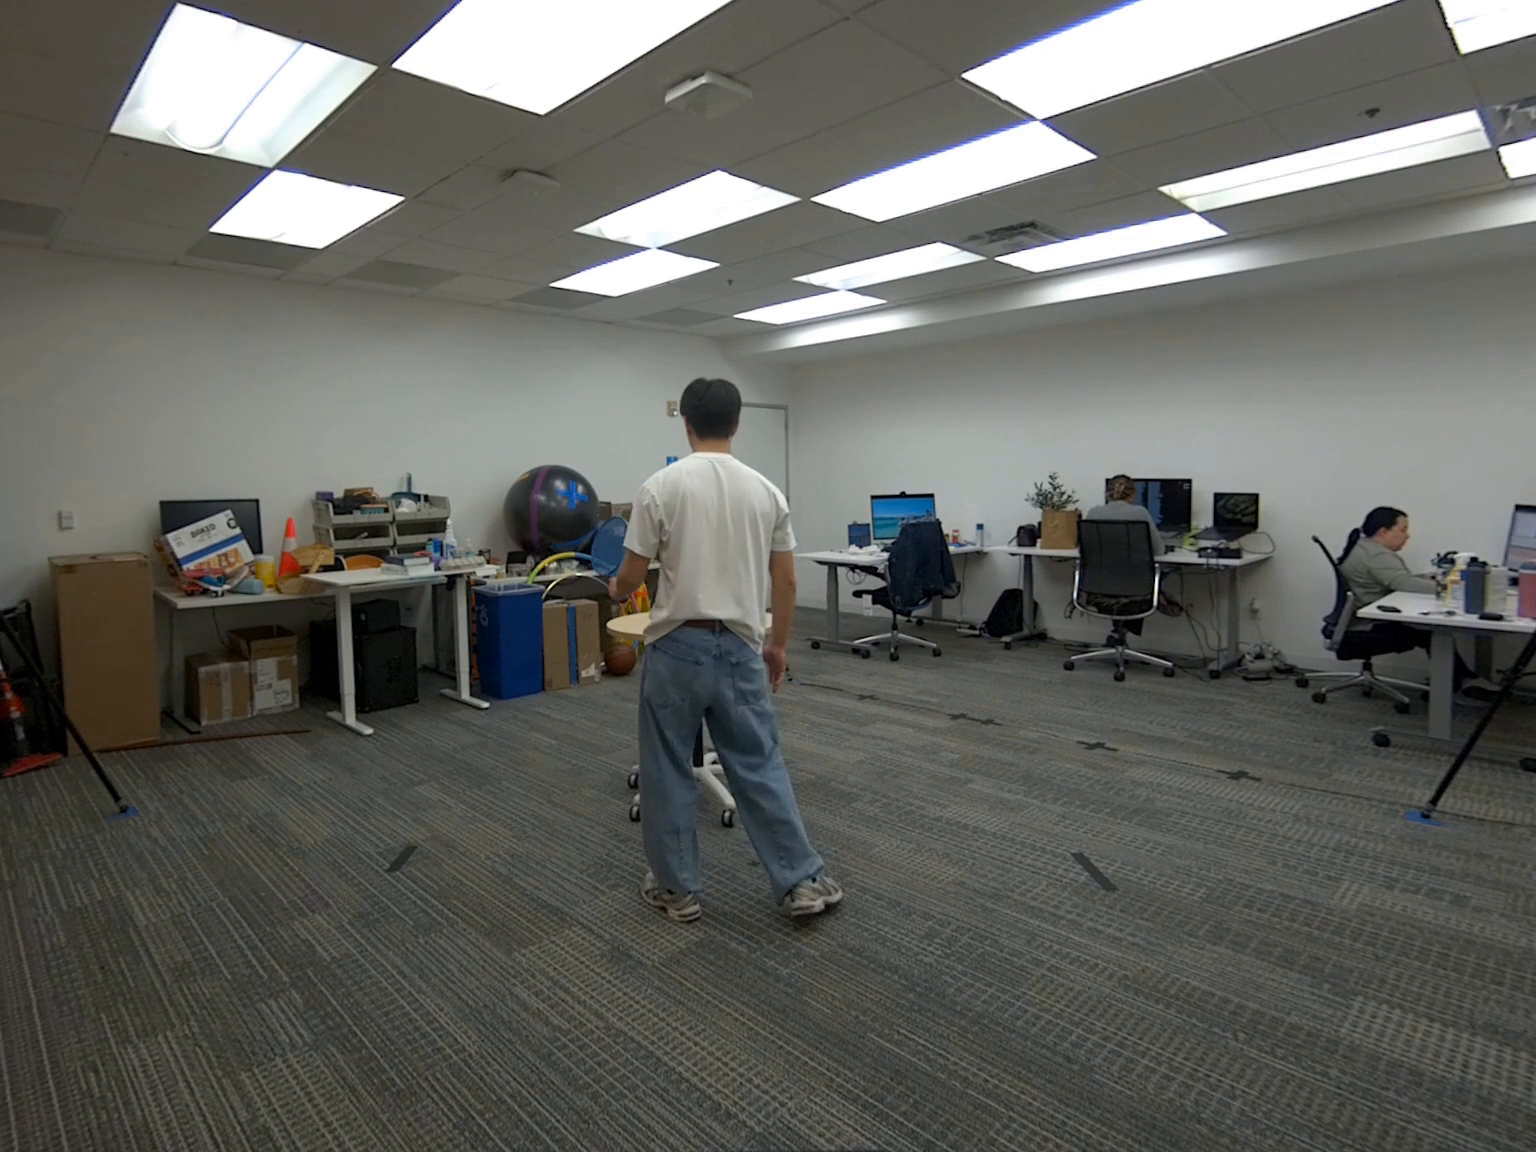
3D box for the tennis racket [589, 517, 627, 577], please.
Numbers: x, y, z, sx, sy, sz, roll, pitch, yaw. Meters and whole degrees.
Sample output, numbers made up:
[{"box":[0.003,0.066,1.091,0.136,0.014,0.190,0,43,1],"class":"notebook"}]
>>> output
[{"box":[-0.552,-0.056,3.142,0.030,0.214,0.449,30,22,-41],"class":"tennis racket"}]
